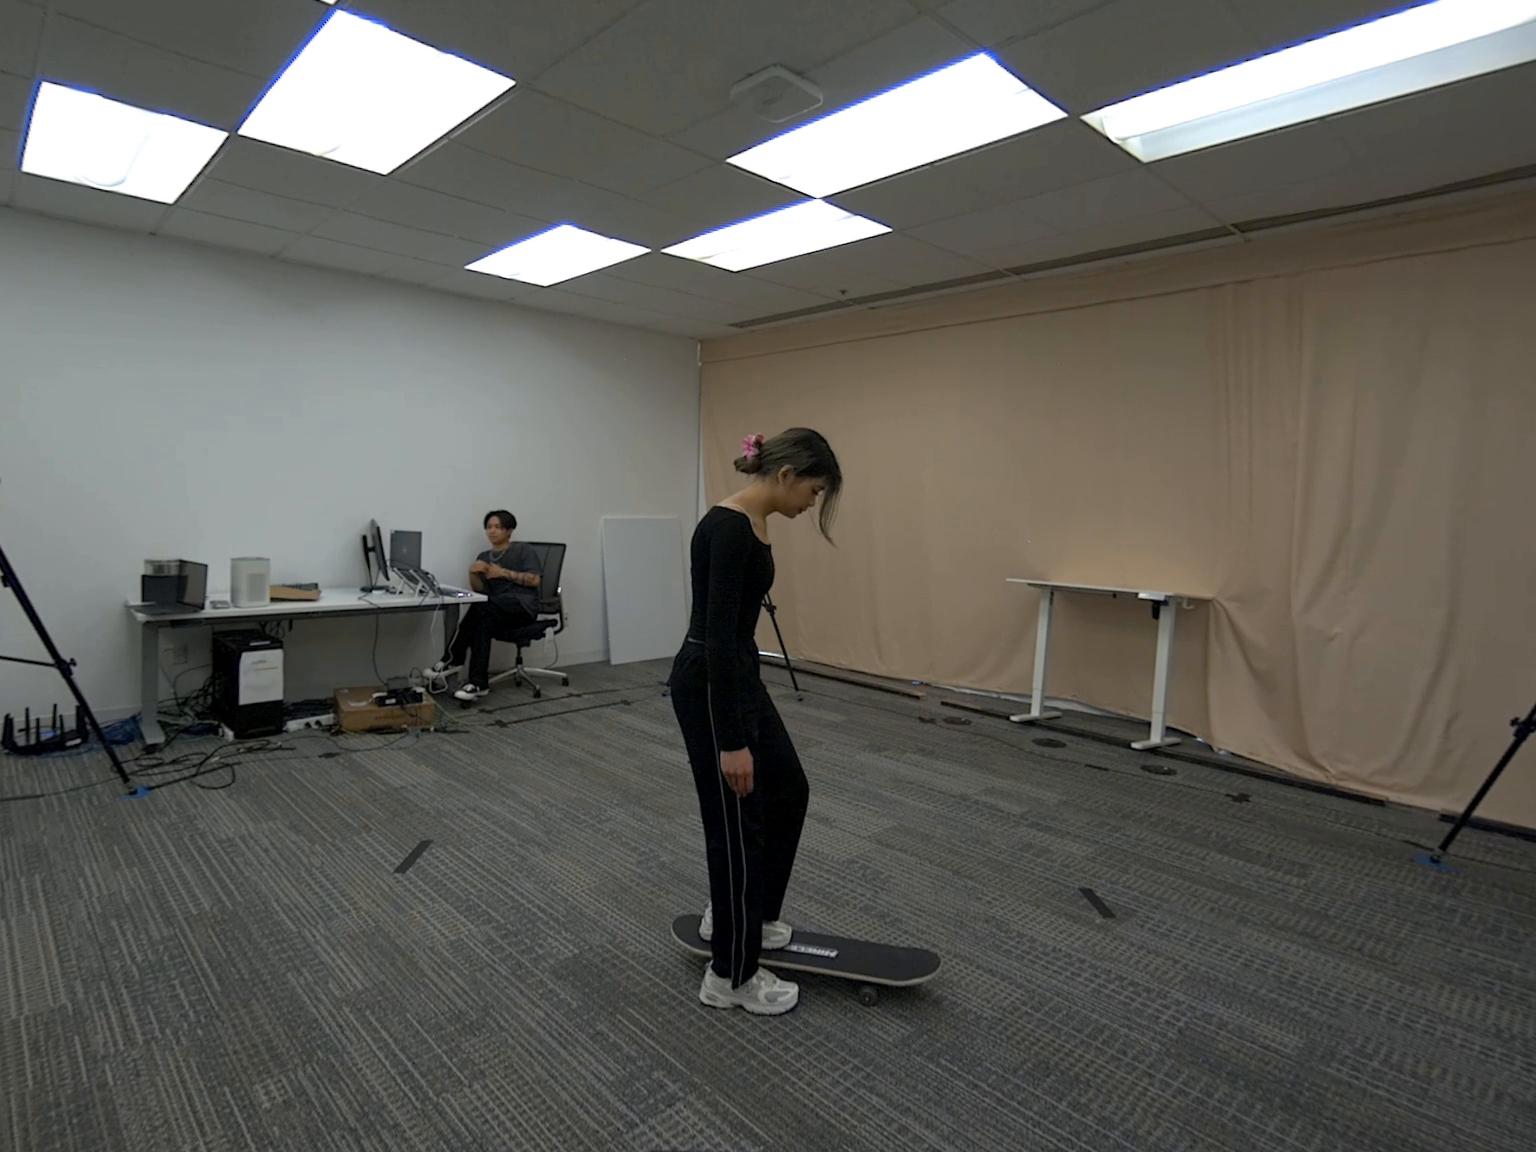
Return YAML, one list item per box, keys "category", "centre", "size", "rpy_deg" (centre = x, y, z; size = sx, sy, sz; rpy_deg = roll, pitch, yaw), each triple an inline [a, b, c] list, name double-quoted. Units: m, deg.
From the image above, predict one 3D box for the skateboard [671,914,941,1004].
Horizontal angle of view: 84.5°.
- category: "skateboard"
  centre: [0.089, 1.116, 2.451]
  size: [0.794, 0.110, 0.192]
  rpy_deg: [3, 5, 13]
